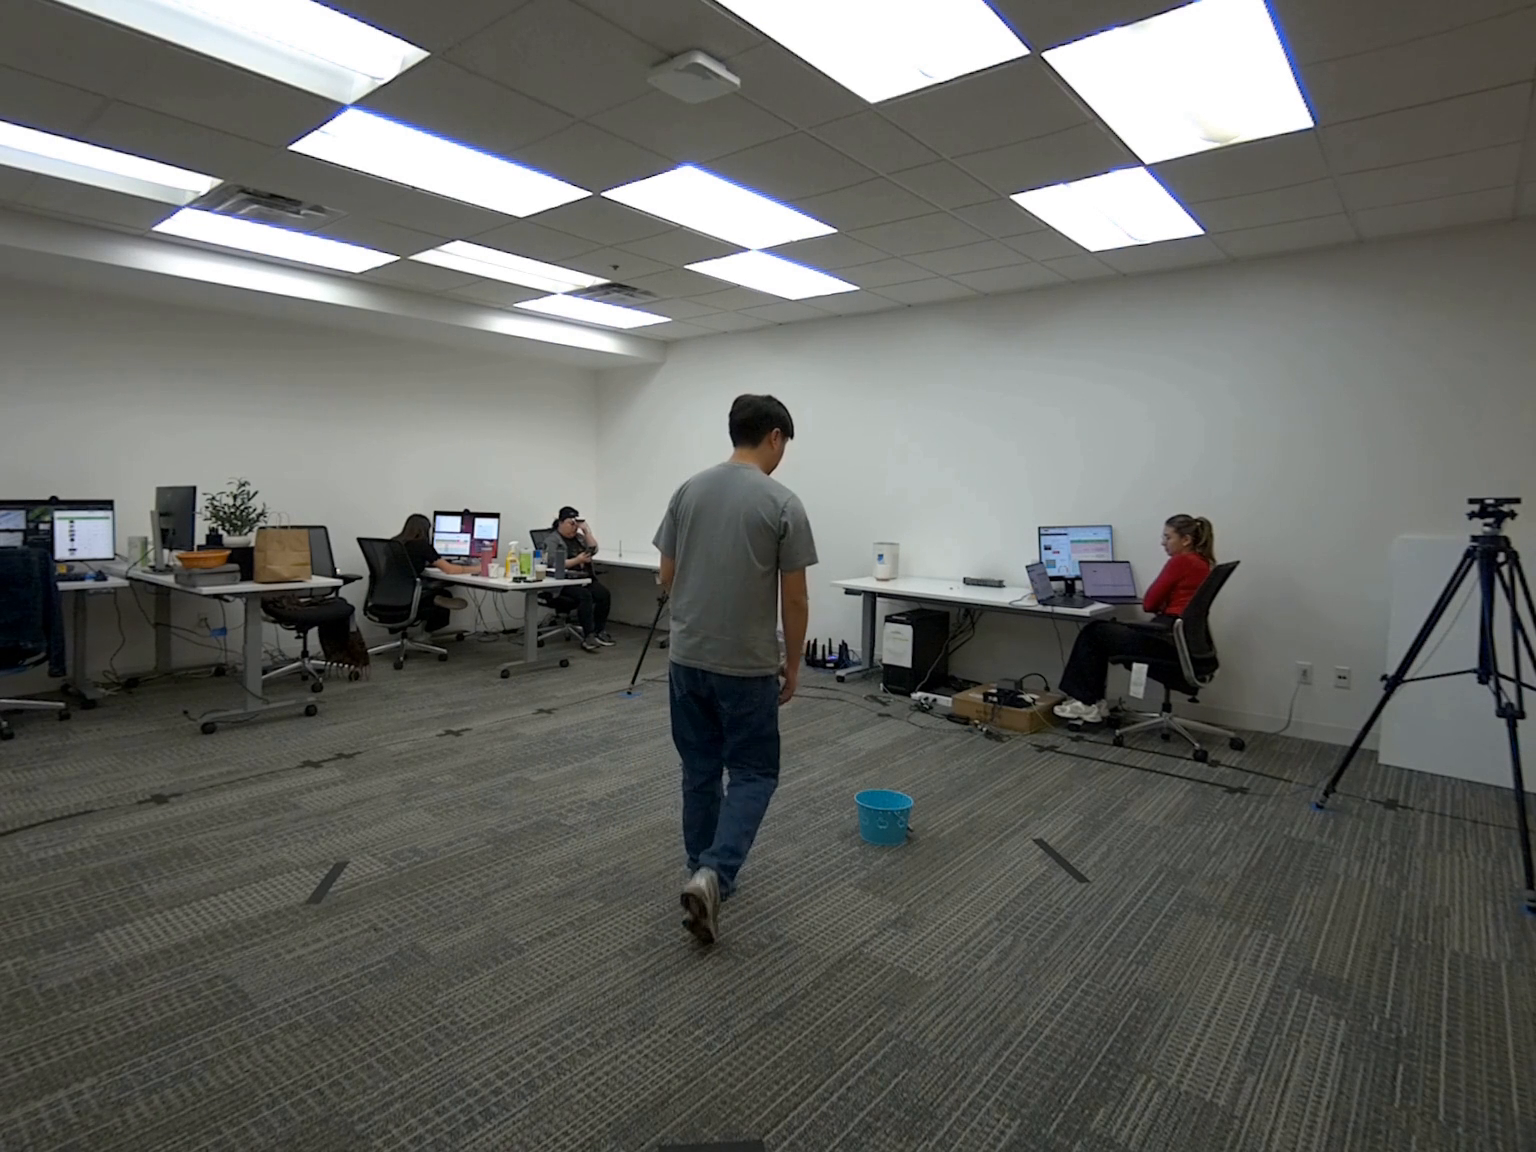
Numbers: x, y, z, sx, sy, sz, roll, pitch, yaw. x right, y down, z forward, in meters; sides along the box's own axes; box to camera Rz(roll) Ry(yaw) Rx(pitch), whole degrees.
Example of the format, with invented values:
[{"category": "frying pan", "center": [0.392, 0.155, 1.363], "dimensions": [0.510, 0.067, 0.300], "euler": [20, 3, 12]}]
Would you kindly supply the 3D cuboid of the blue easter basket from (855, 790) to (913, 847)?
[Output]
[{"category": "blue easter basket", "center": [0.462, 0.971, 3.431], "dimensions": [0.243, 0.155, 0.245], "euler": [0, 5, -2]}]
